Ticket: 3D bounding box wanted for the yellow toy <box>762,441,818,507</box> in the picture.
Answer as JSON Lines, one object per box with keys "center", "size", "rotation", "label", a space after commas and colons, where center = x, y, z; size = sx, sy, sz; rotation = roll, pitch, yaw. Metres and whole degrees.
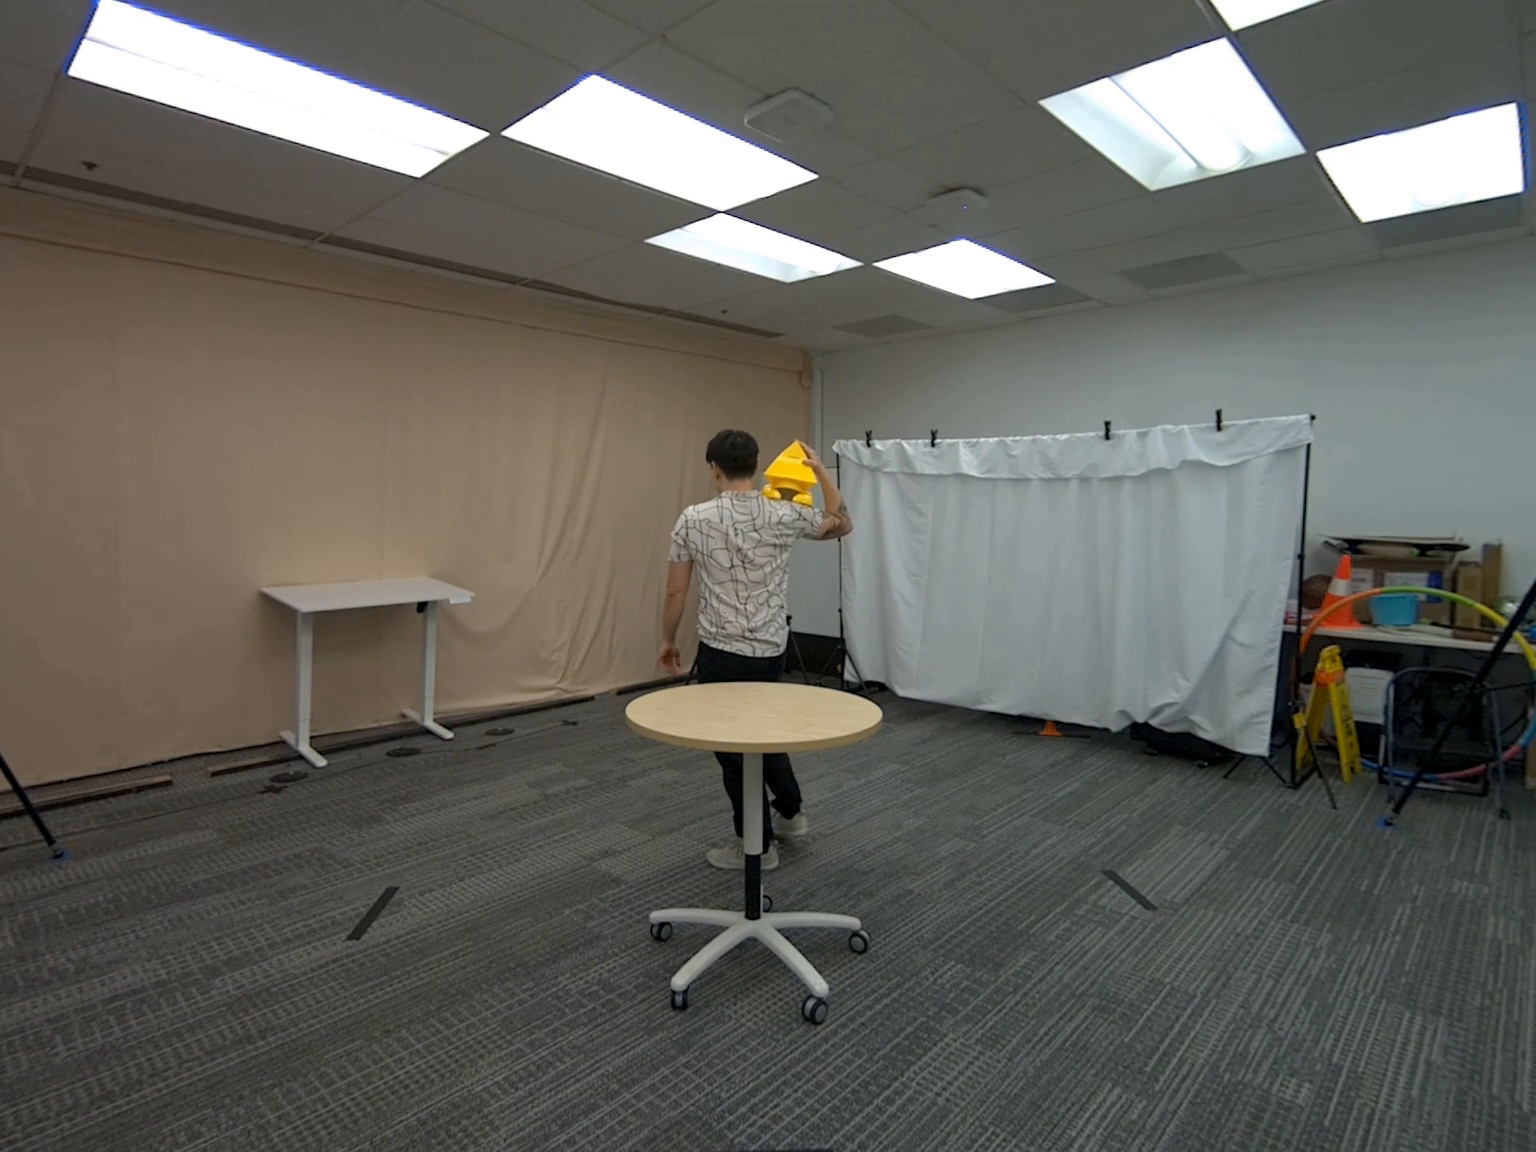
{"center": [0.091, -0.400, 3.281], "size": [0.206, 0.231, 0.192], "rotation": [10, -4, 2], "label": "yellow toy"}
